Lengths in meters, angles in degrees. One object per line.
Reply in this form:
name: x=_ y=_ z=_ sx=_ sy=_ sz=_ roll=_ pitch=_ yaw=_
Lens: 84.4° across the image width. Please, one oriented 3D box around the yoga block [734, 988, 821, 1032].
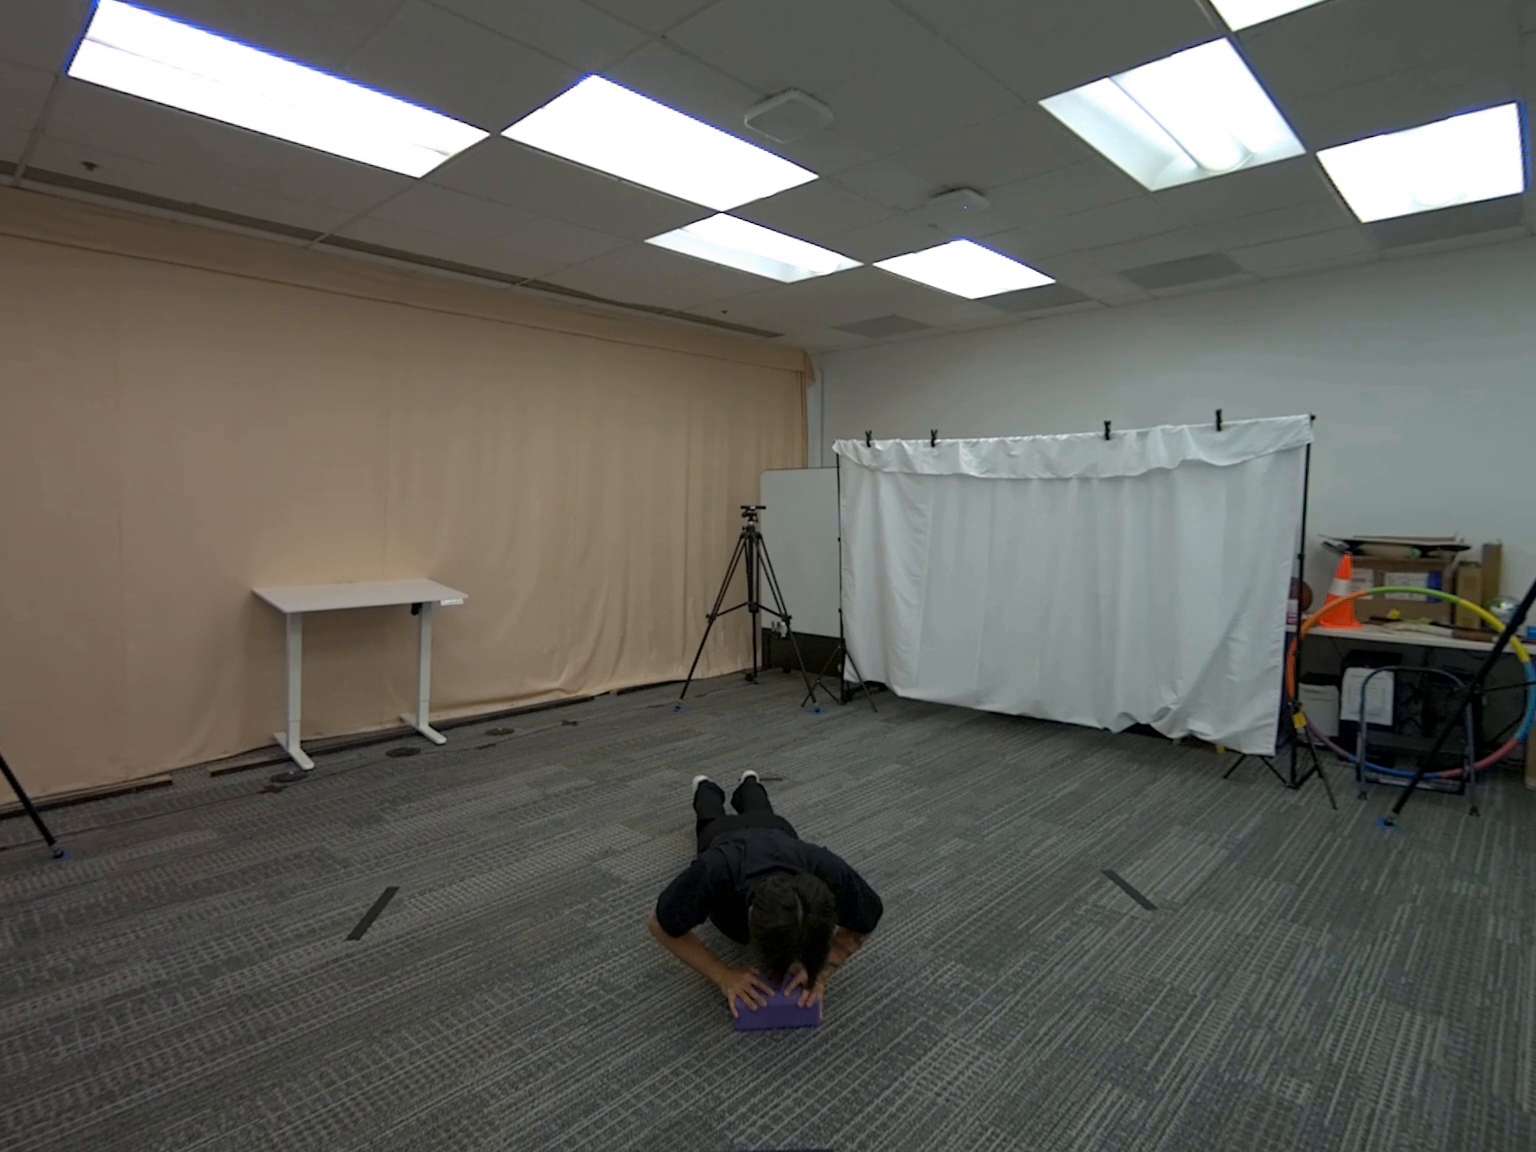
yoga block: x=0.021 y=1.161 z=2.311 sx=0.228 sy=0.076 sz=0.150 roll=0 pitch=6 yaw=-6
